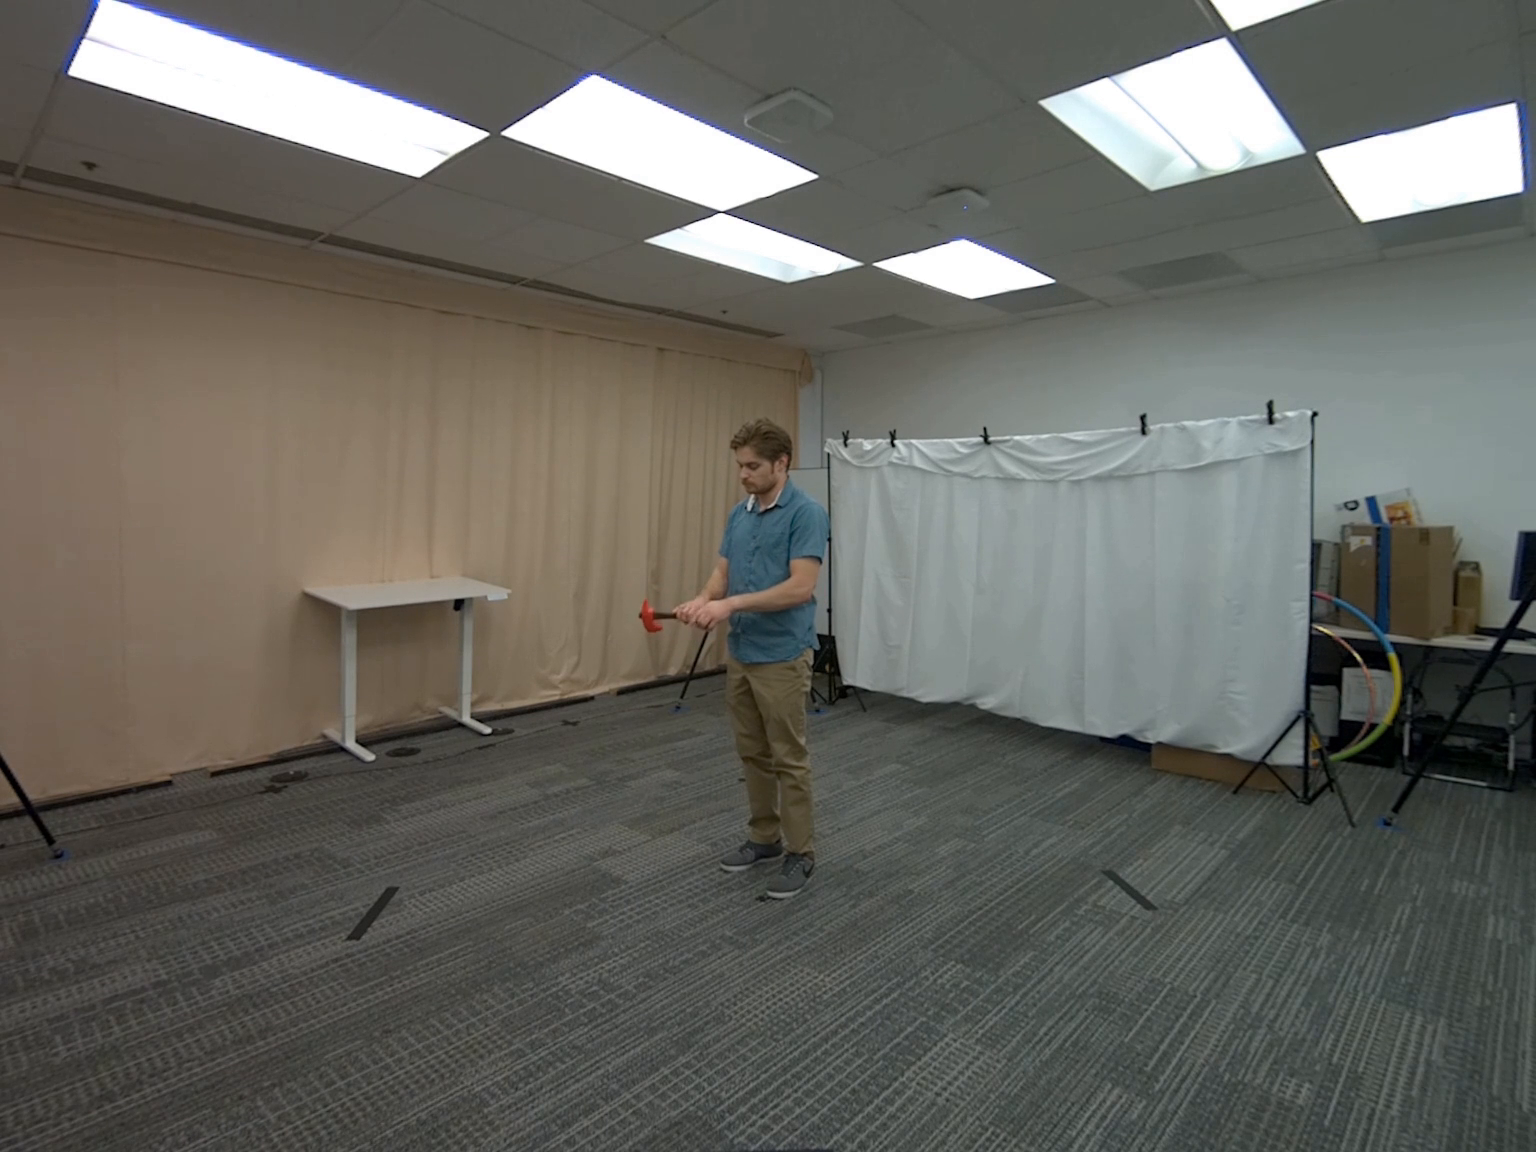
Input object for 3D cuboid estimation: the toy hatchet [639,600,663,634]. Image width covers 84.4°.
[{"bbox_3d":[-0.323,0.176,2.961,0.272,0.130,0.029,18,22,6],"label":"toy hatchet"}]
